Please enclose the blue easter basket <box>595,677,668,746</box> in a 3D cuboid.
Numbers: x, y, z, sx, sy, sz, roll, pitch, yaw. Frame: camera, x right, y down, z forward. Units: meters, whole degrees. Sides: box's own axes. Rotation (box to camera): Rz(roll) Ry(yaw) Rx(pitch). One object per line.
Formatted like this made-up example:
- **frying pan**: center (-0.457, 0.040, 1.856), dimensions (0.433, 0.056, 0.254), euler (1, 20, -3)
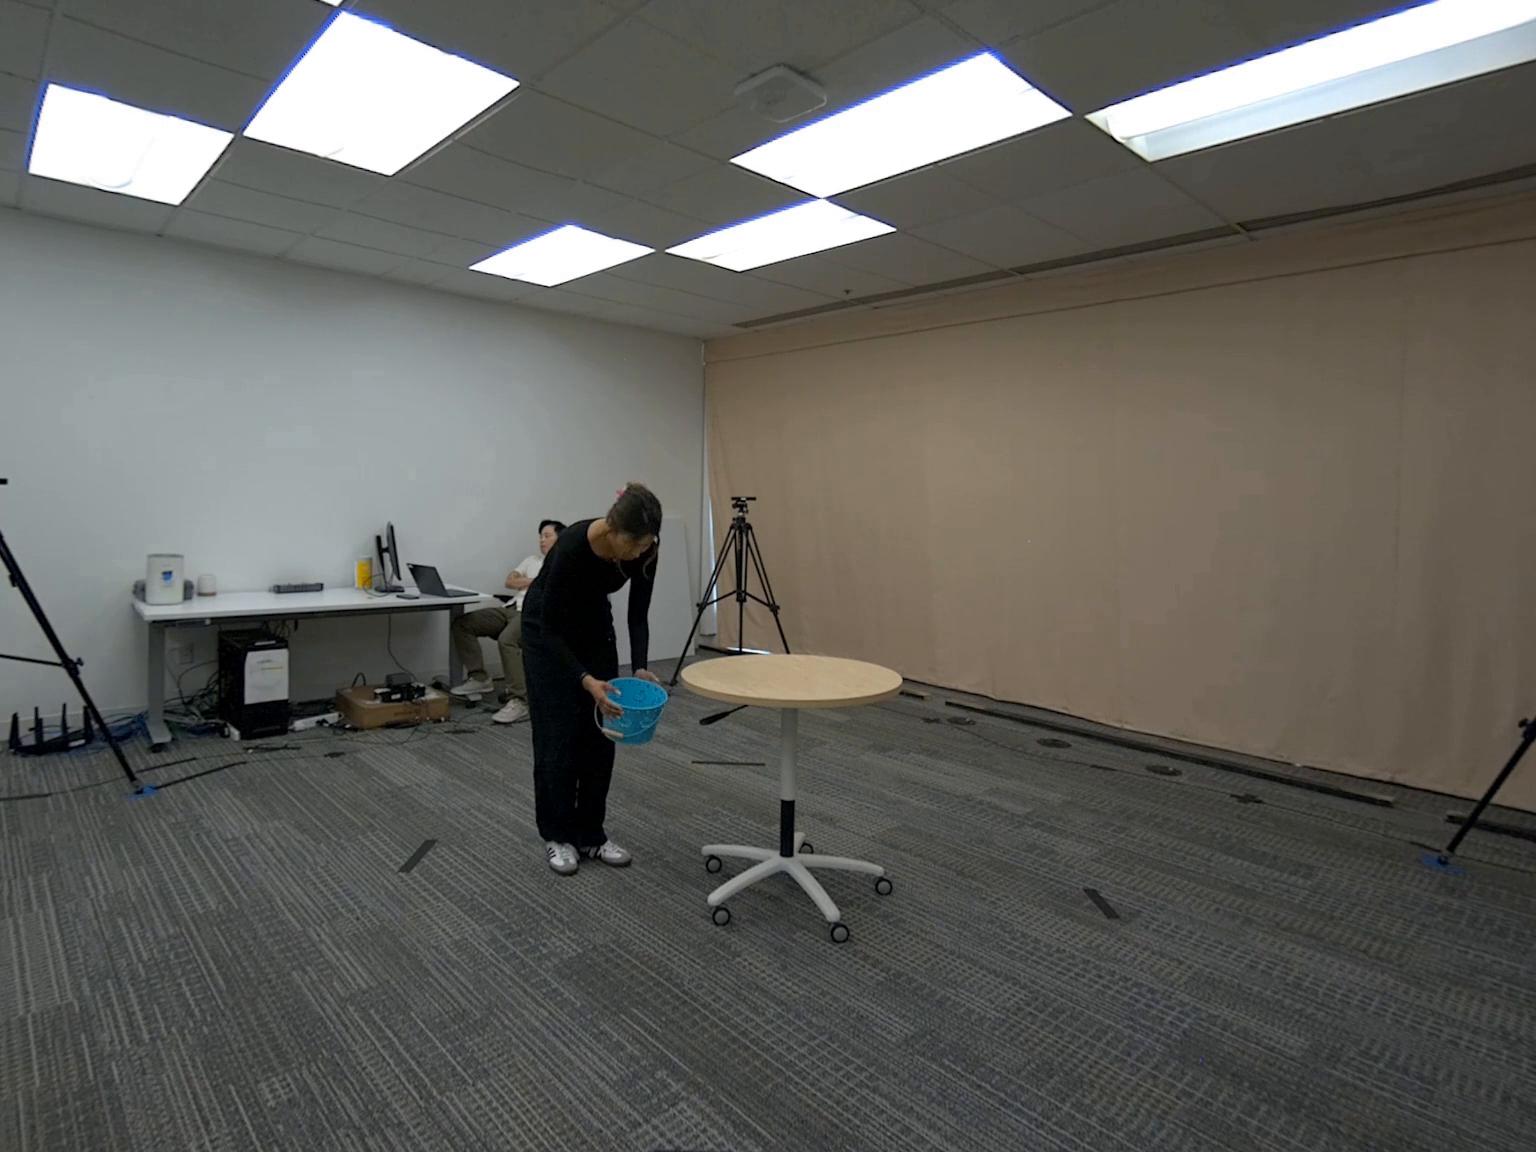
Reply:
- **blue easter basket**: center (-0.486, 0.477, 2.932), dimensions (0.243, 0.154, 0.246), euler (9, 14, -3)
